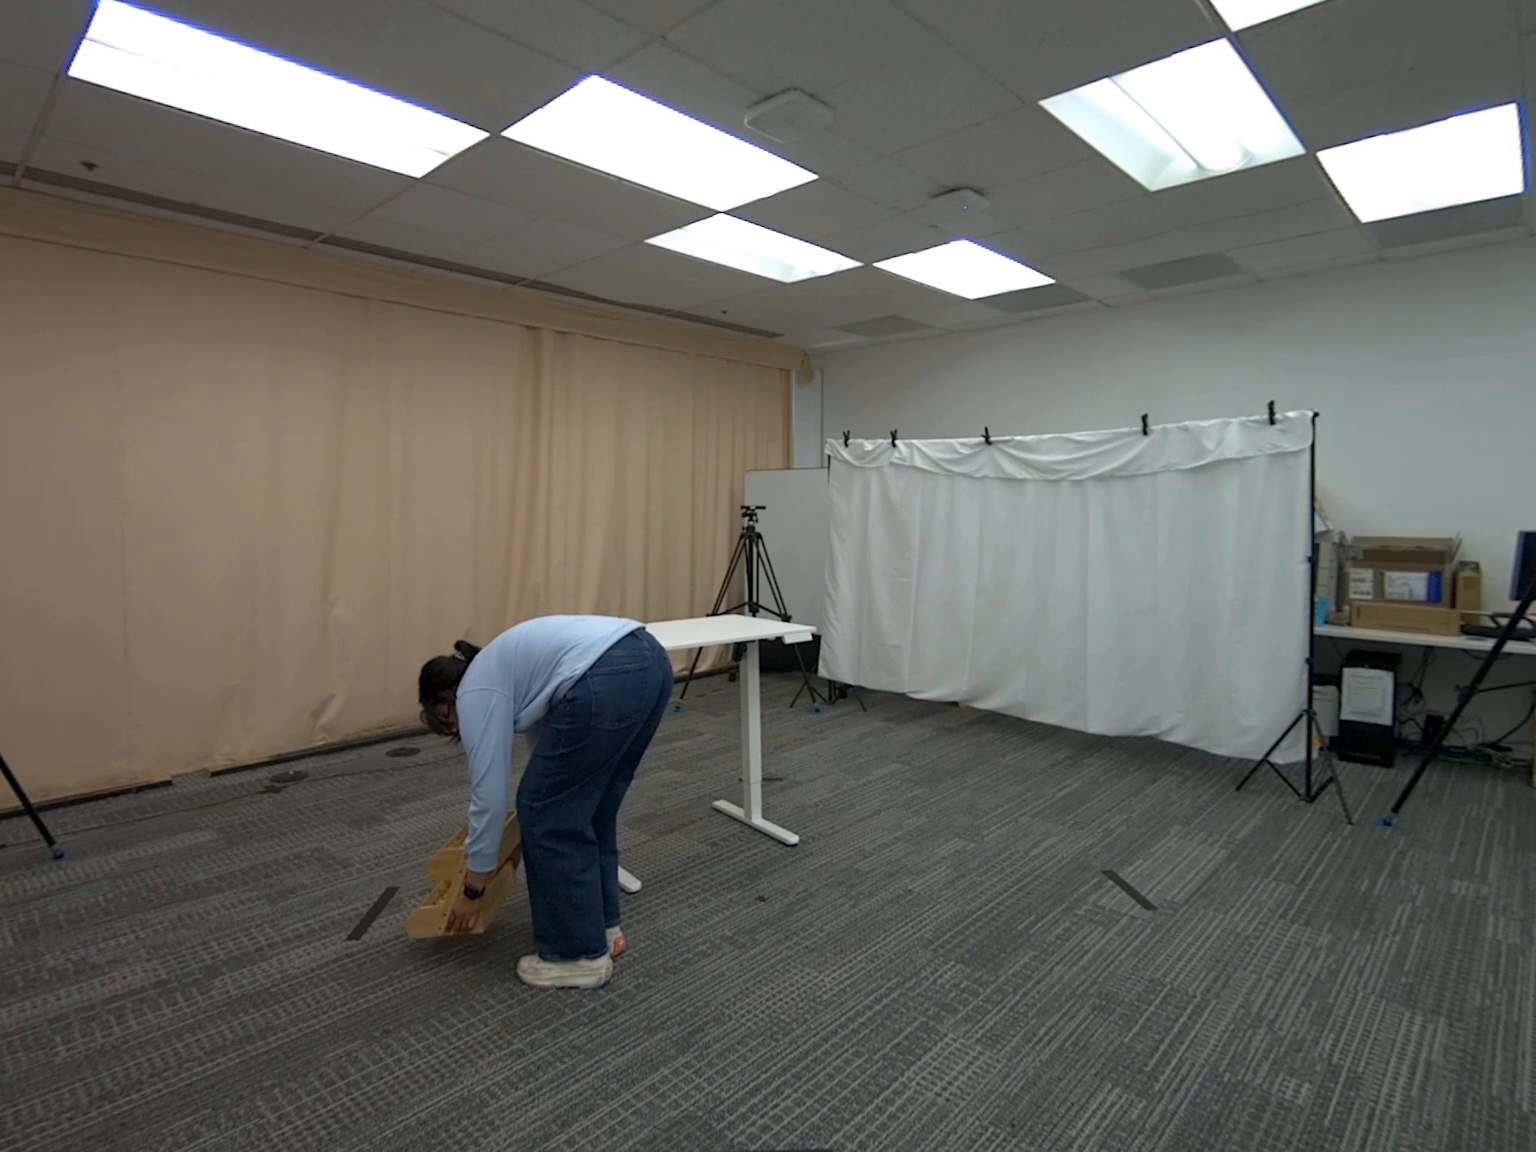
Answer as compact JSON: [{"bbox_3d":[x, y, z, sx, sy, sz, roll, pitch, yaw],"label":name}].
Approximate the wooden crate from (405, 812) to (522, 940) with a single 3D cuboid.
[{"bbox_3d":[-0.962,0.933,2.668,0.304,0.272,0.324,-6,4,4],"label":"wooden crate"}]
